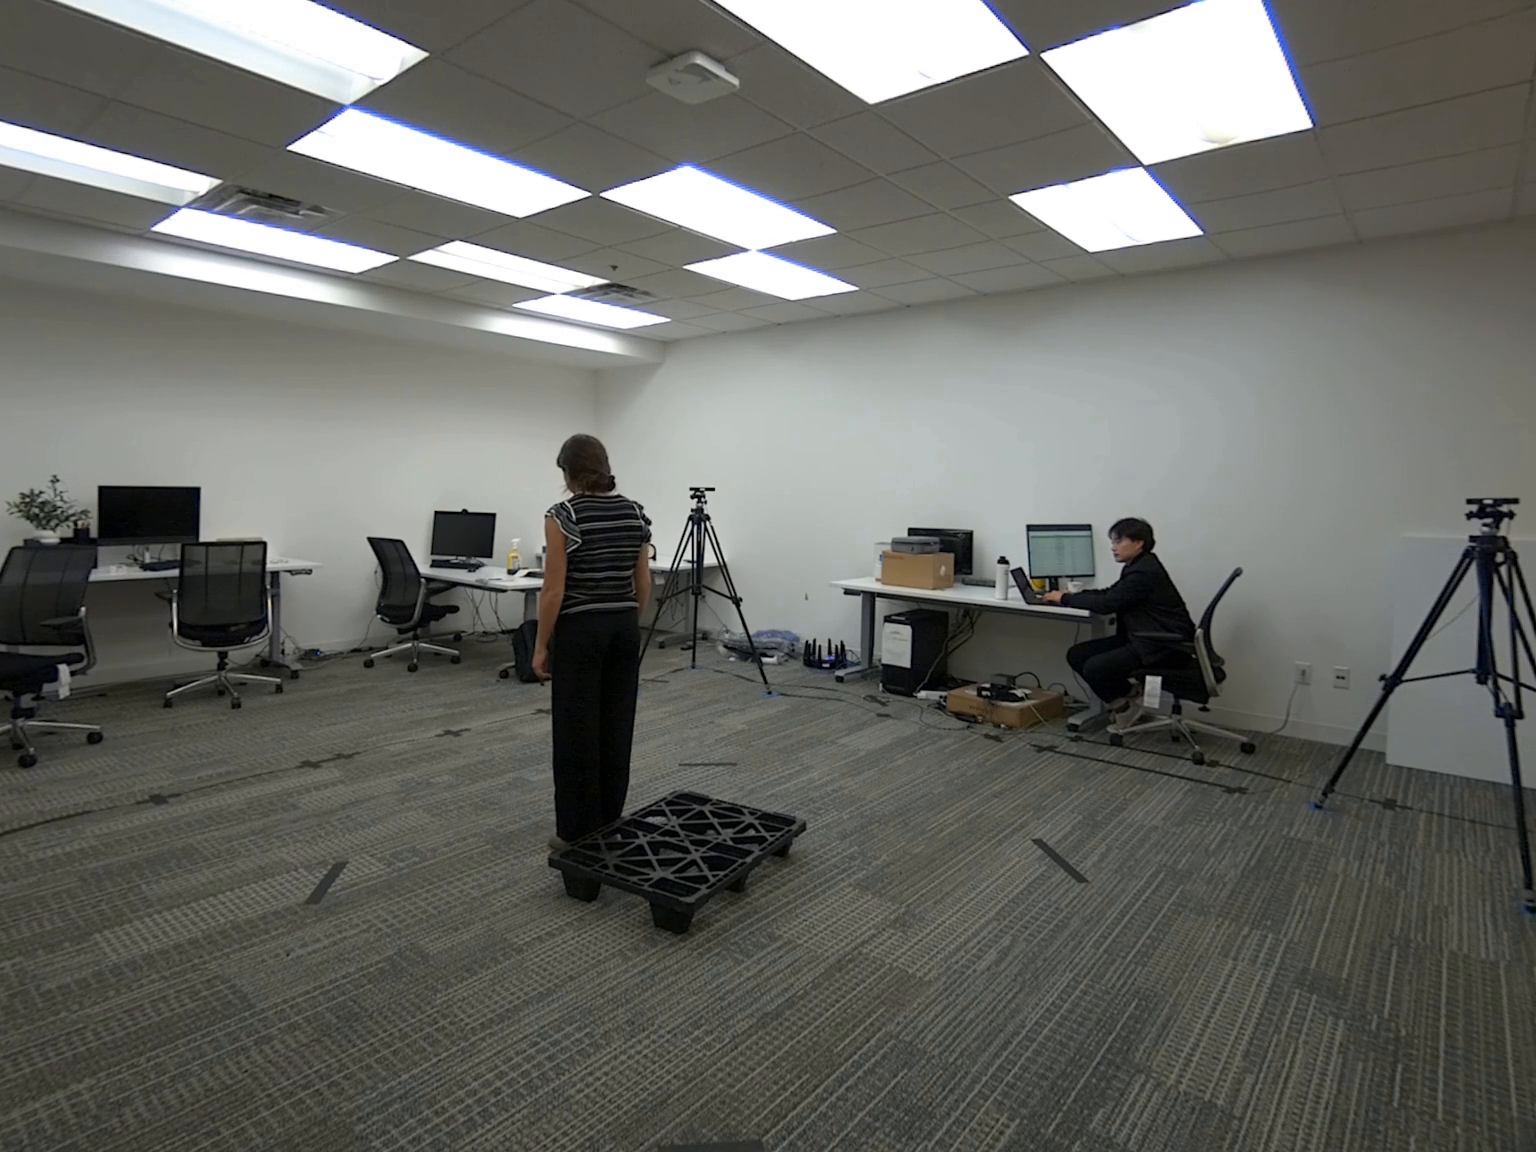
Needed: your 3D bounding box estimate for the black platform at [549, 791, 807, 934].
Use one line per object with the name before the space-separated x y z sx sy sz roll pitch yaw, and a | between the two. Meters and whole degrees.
black platform | -0.315 1.001 3.064 0.623 0.143 0.785 3 6 30
